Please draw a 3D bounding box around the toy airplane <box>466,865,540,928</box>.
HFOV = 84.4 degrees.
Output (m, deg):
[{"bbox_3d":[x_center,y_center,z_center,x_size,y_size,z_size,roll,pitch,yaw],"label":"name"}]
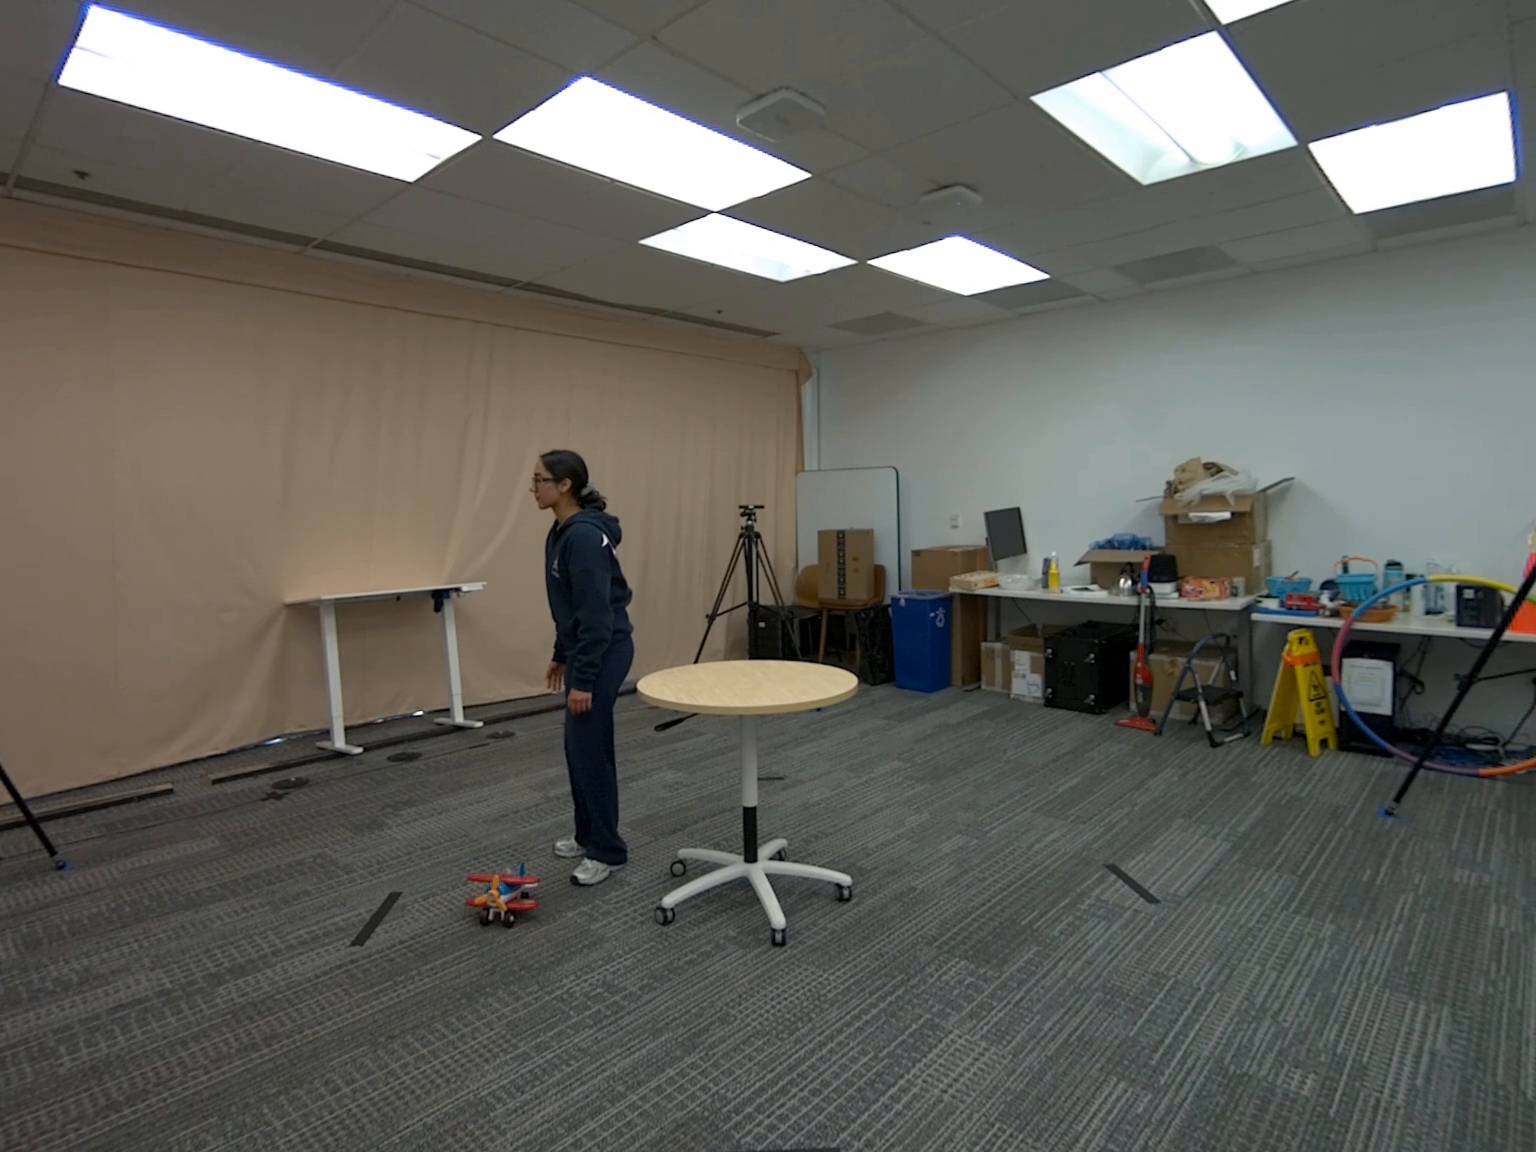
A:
[{"bbox_3d":[-0.914,1.087,2.917,0.247,0.156,0.264,-3,5,-18],"label":"toy airplane"}]
